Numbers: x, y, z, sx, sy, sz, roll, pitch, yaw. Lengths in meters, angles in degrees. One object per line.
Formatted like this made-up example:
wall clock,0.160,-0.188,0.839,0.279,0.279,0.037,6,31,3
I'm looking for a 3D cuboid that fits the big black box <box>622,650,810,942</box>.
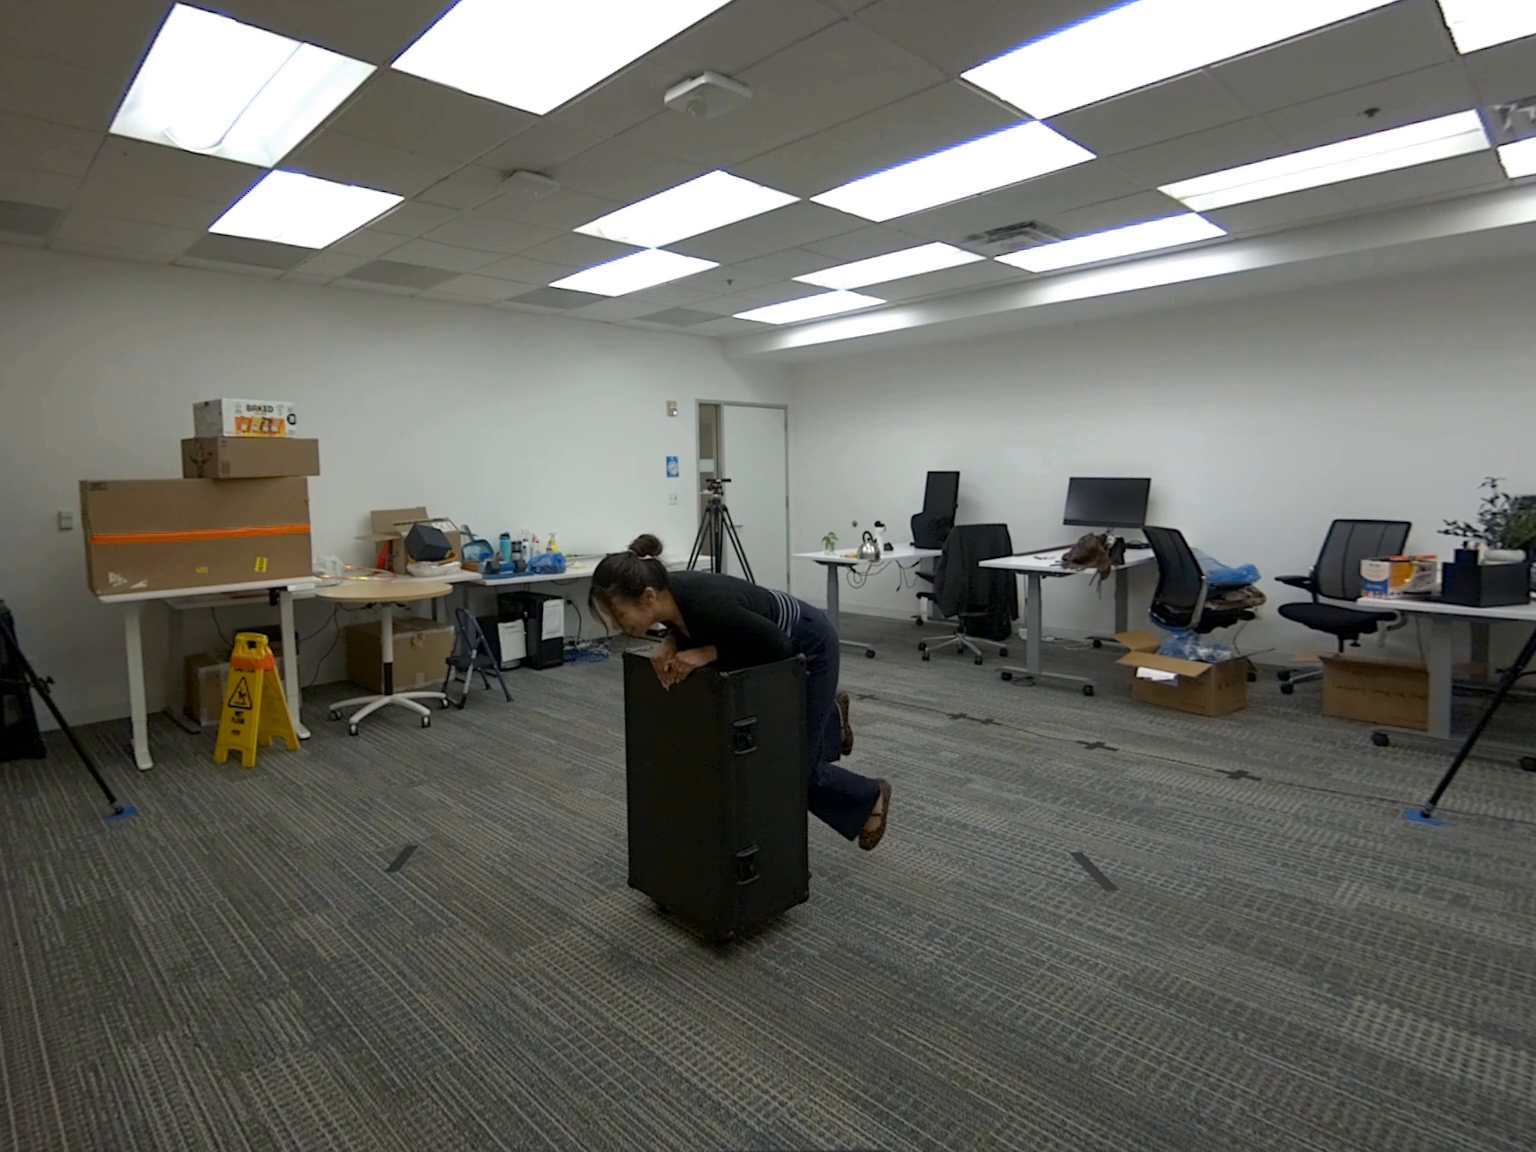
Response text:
big black box,-0.162,0.664,2.733,0.386,0.859,0.537,-4,5,-44
